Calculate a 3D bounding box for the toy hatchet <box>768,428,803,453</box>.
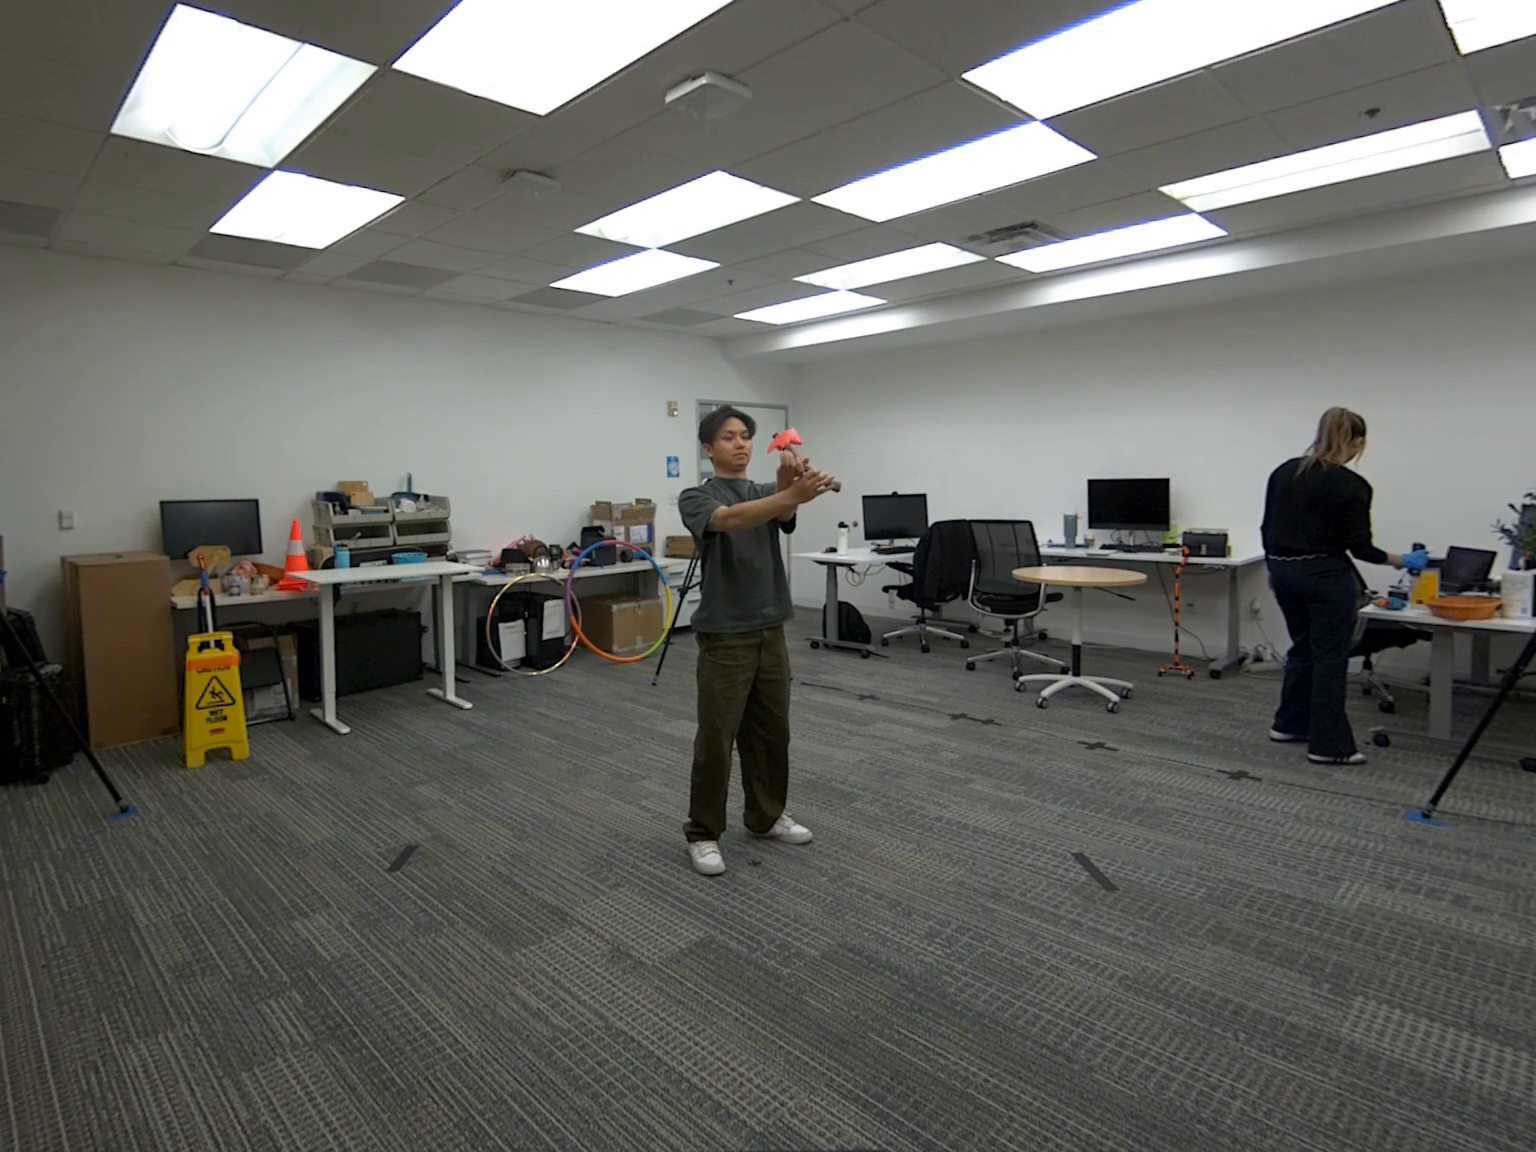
[{"bbox_3d":[0.144,-0.384,2.742,0.268,0.132,0.029,28,-32,-4],"label":"toy hatchet"}]
